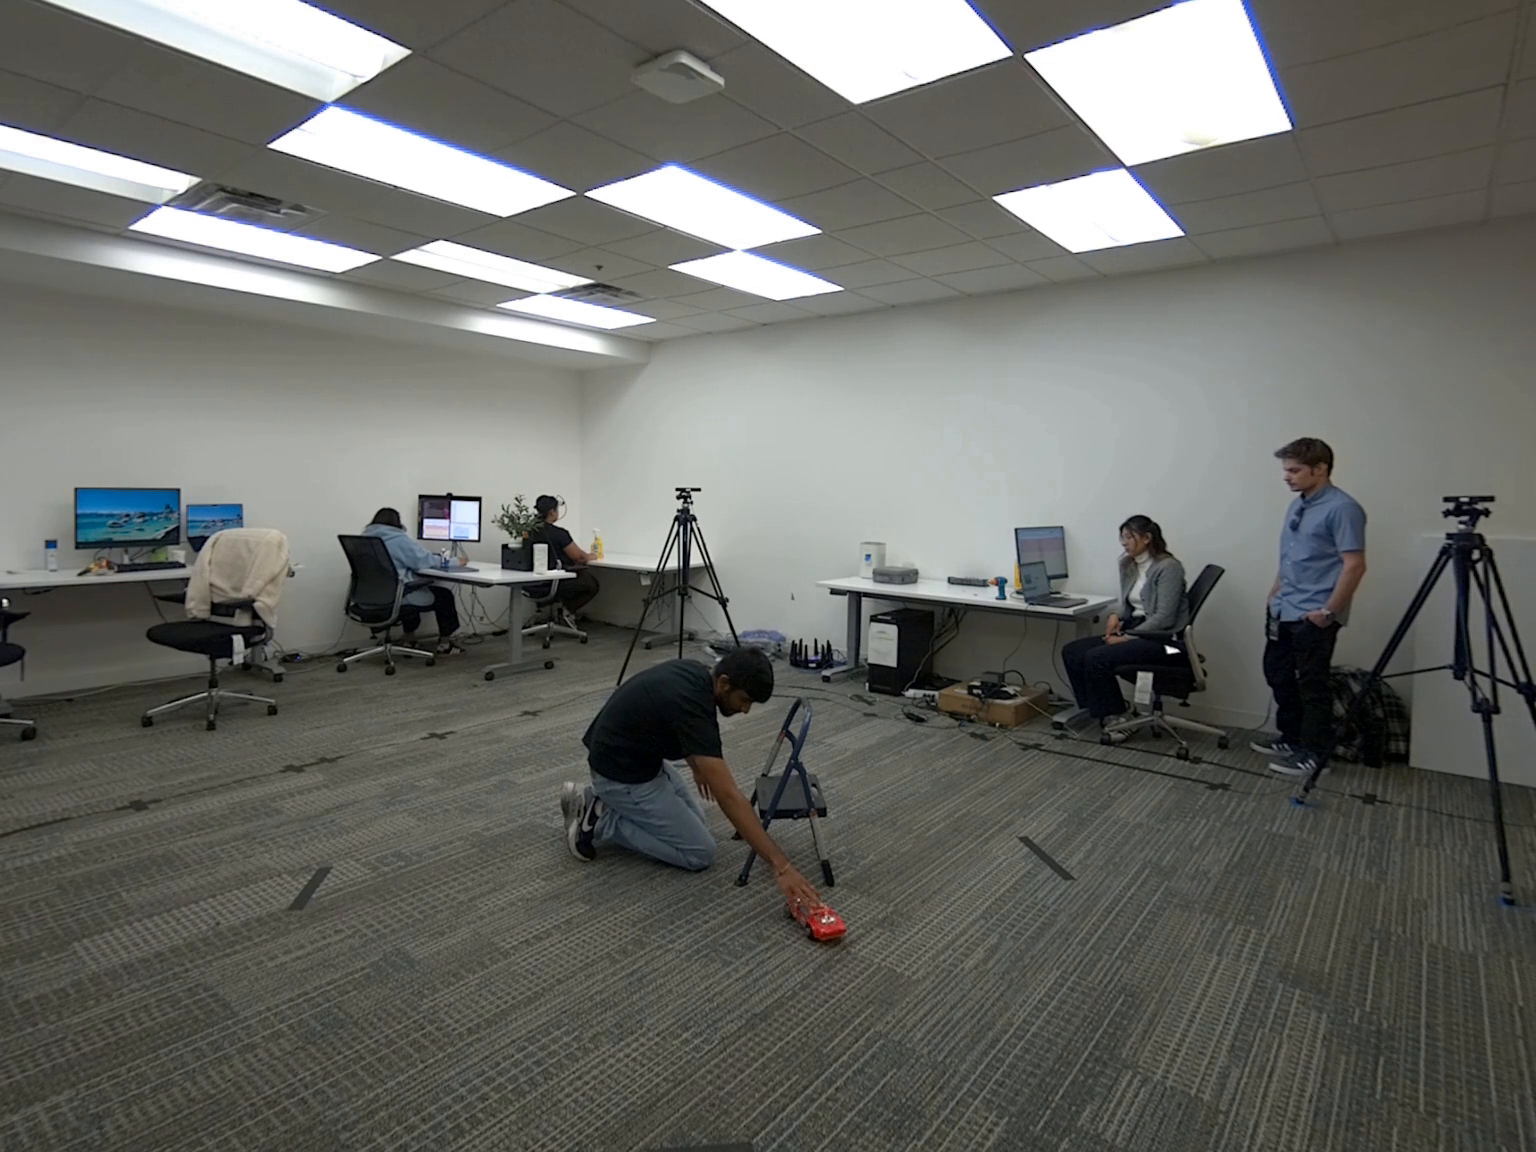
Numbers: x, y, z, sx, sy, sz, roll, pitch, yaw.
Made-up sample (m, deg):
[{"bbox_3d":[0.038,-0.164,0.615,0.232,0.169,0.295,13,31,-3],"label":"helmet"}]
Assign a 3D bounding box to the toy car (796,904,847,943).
[{"bbox_3d":[0.146,1.082,2.702,0.127,0.084,0.258,-3,-5,-23],"label":"toy car"}]
